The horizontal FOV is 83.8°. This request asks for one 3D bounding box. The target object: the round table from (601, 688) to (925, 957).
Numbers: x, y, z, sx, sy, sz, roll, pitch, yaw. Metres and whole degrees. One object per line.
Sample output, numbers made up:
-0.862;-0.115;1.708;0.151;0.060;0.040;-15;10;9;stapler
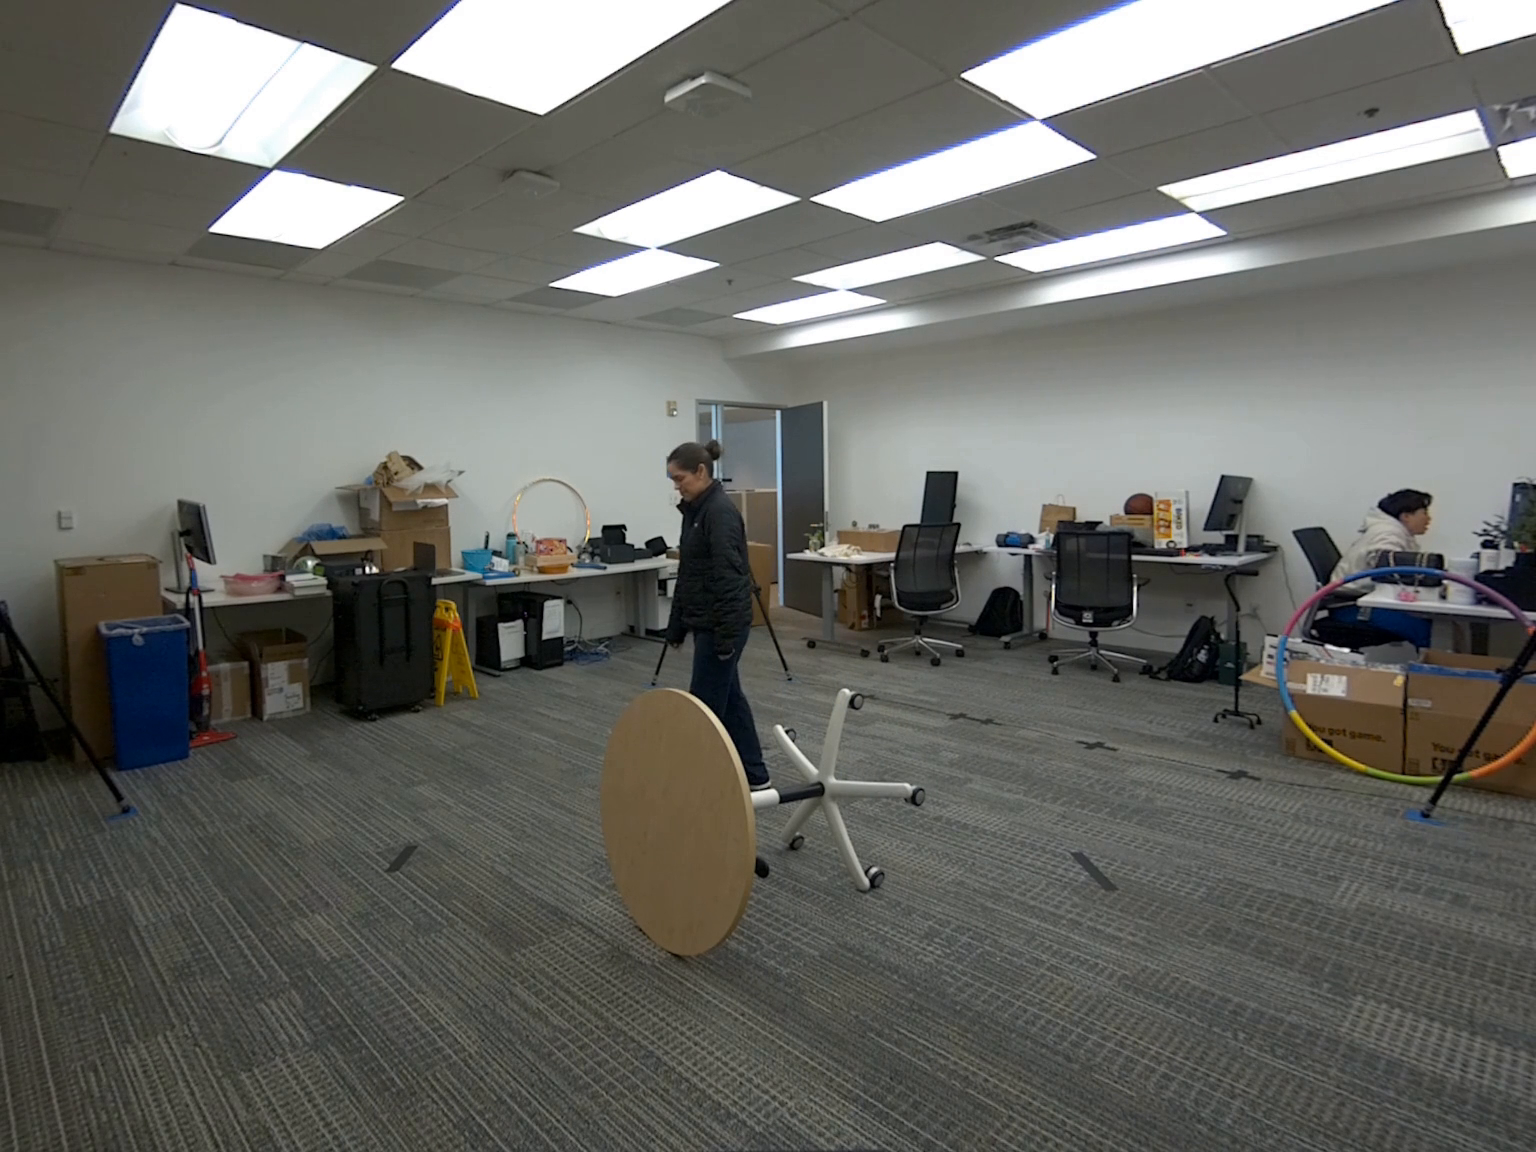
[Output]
-0.008;0.740;2.835;0.763;0.785;0.809;2;2;-40;round table
